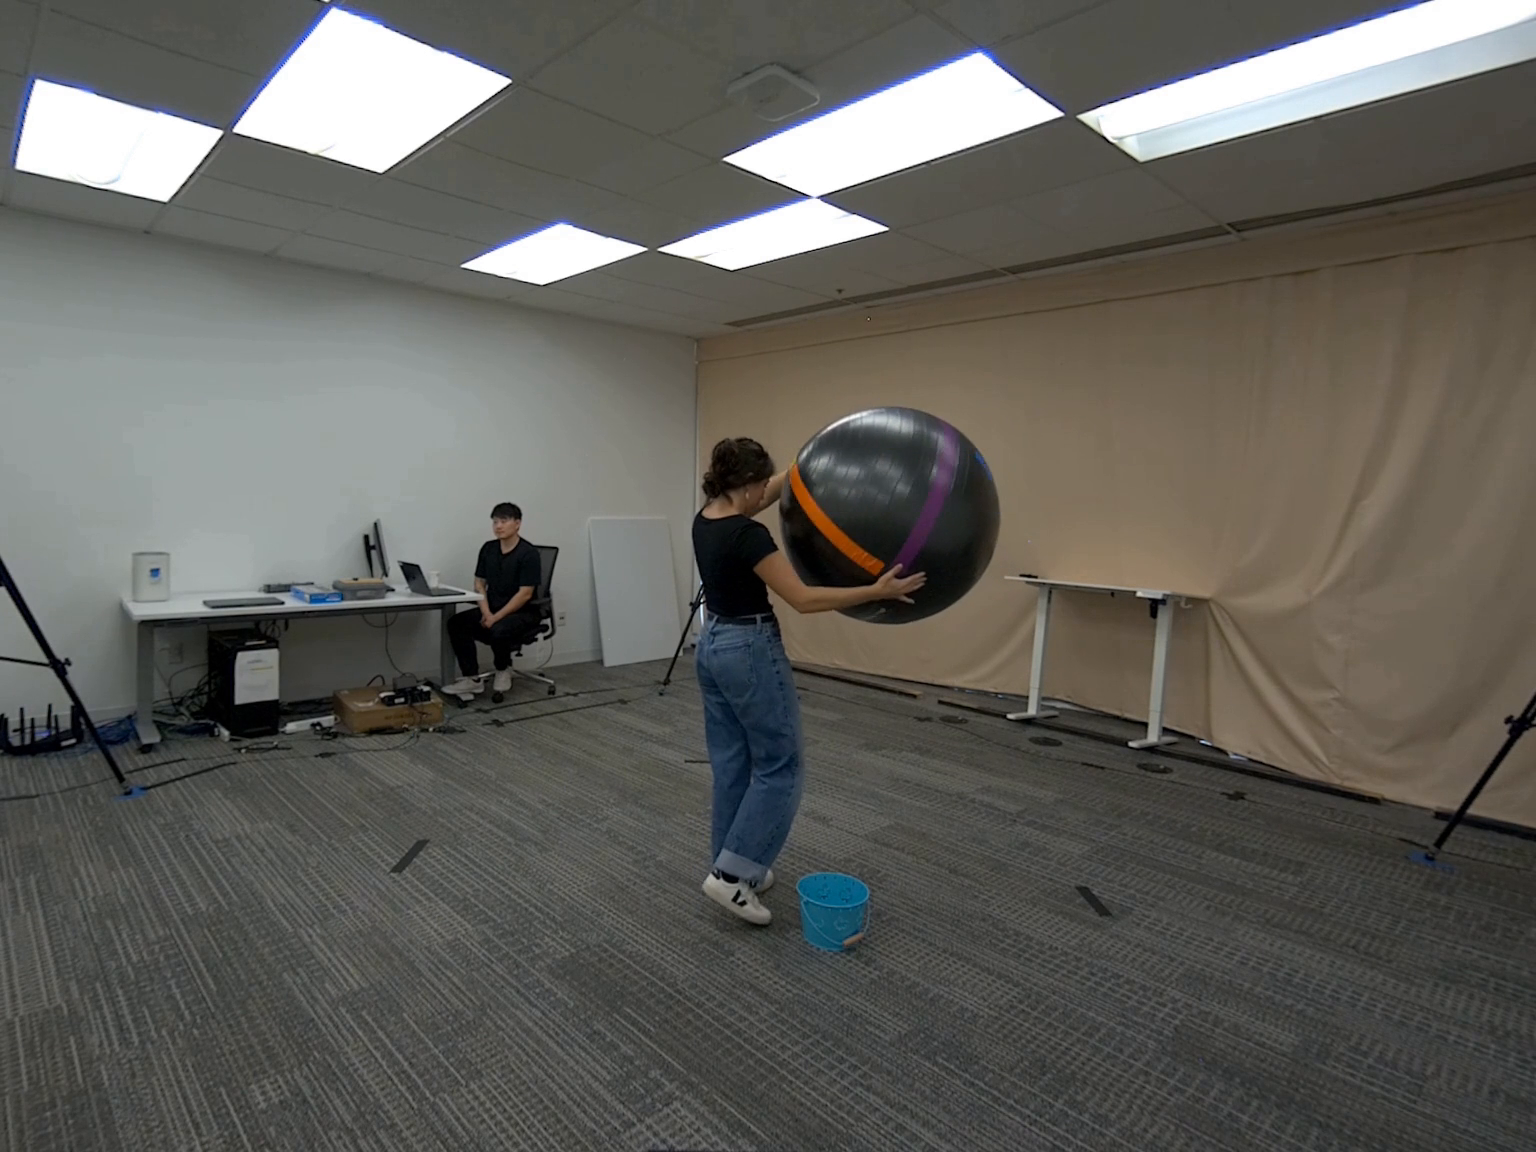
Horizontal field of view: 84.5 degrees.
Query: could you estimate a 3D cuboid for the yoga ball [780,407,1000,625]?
[{"bbox_3d":[0.418,-0.212,2.948,0.757,0.756,0.761,1,4,-1],"label":"yoga ball"}]
